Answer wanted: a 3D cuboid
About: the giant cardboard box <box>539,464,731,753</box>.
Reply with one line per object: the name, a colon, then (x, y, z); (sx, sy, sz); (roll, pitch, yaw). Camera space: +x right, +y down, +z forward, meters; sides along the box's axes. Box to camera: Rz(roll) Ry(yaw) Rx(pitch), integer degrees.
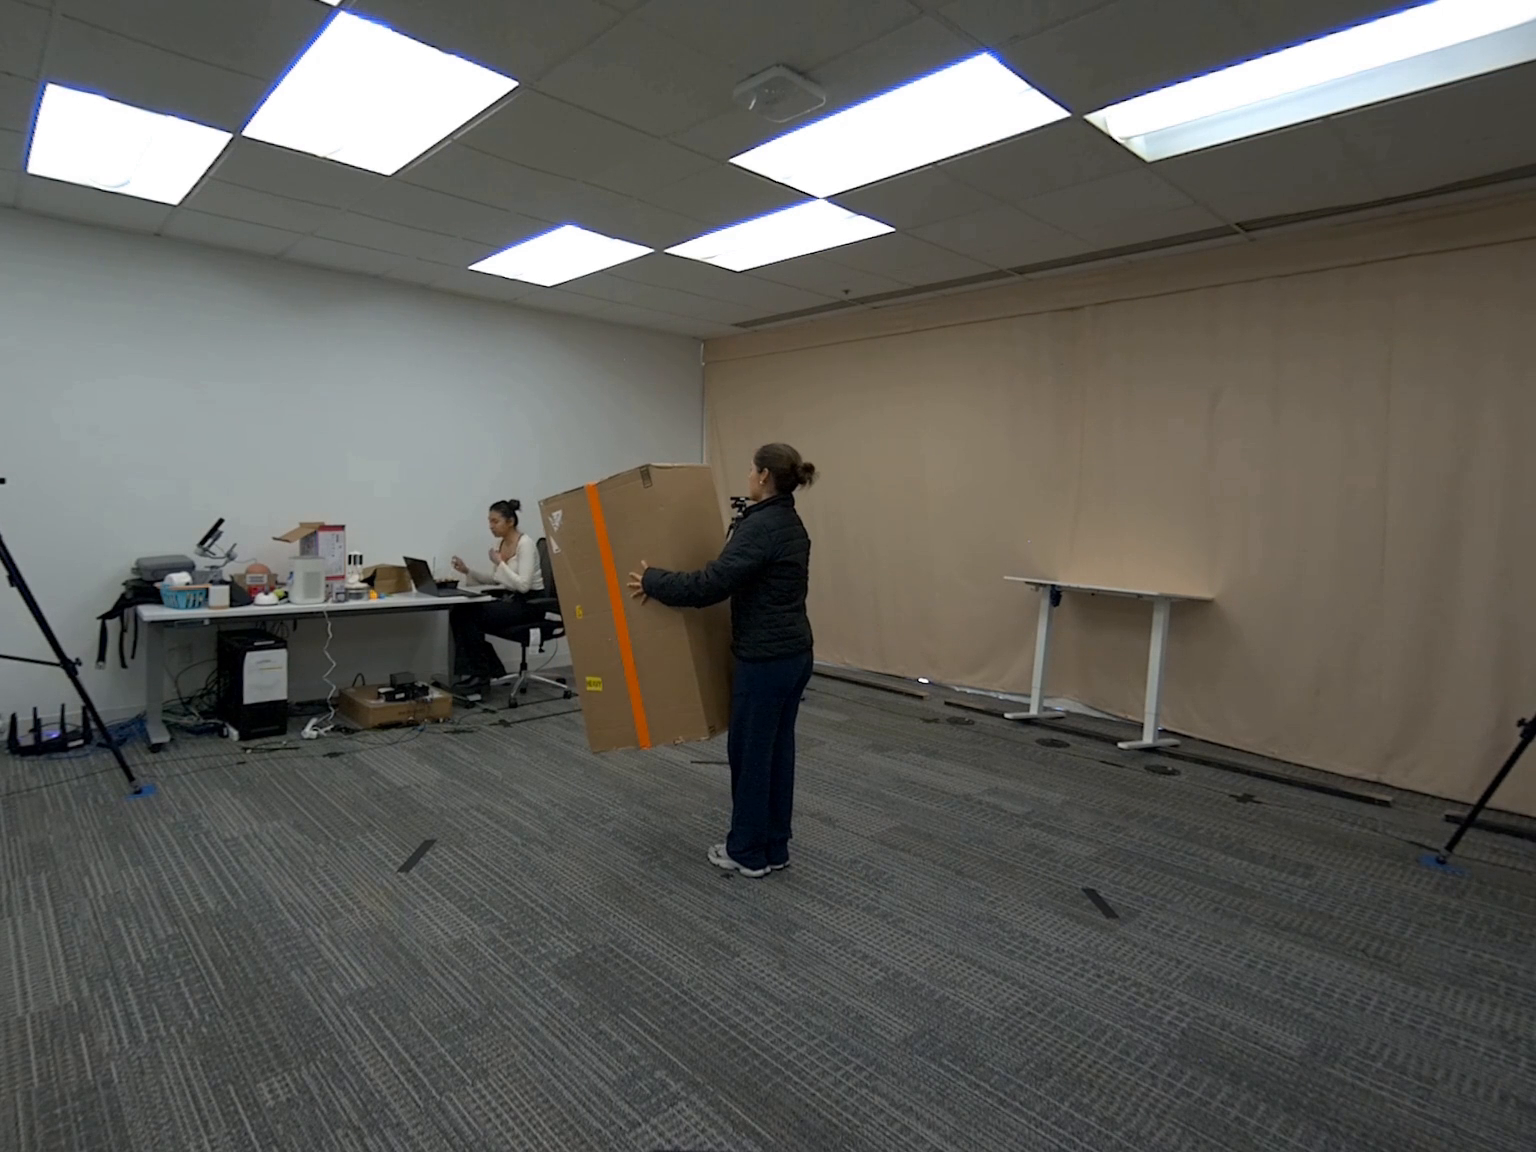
giant cardboard box: (-0.476, 0.128, 3.355); (0.586, 1.028, 0.418); (-14, -3, 31)
